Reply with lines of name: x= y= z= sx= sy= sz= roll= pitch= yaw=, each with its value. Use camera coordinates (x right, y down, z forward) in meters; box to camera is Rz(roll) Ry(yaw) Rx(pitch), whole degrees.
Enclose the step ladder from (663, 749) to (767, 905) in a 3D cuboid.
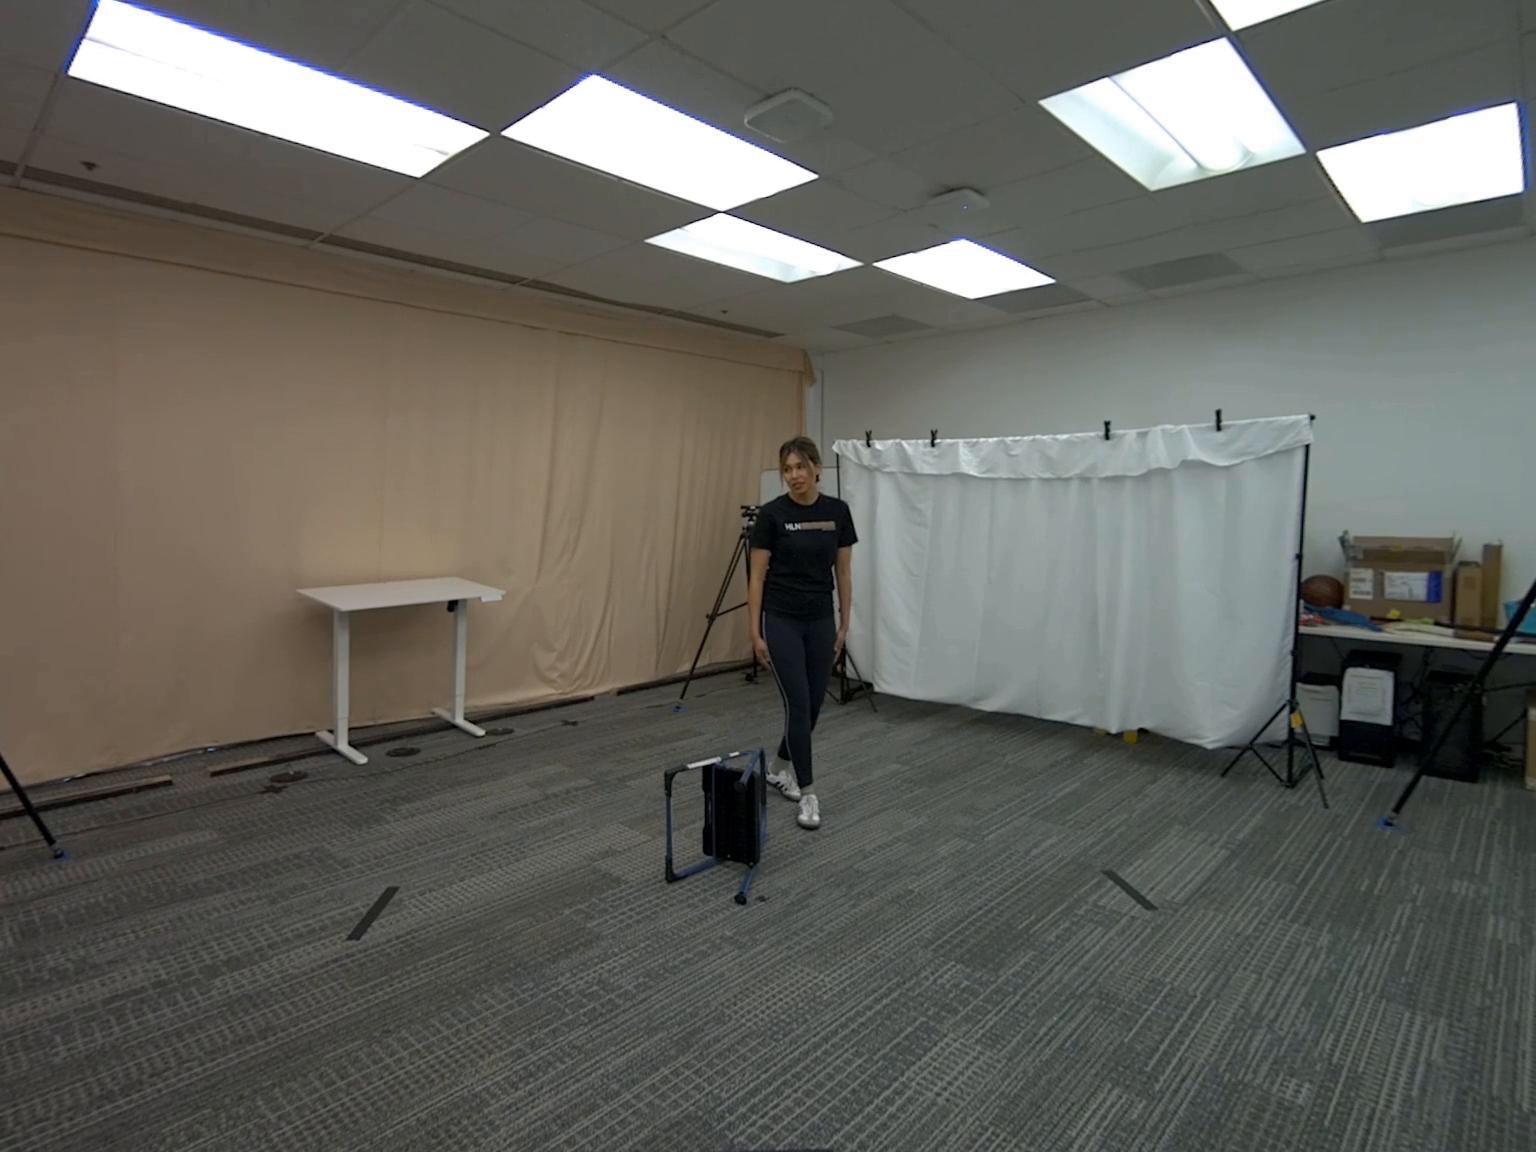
step ladder: x=-0.096 y=0.916 z=3.276 sx=0.359 sy=0.430 sz=0.590 roll=2 pitch=3 yaw=29
